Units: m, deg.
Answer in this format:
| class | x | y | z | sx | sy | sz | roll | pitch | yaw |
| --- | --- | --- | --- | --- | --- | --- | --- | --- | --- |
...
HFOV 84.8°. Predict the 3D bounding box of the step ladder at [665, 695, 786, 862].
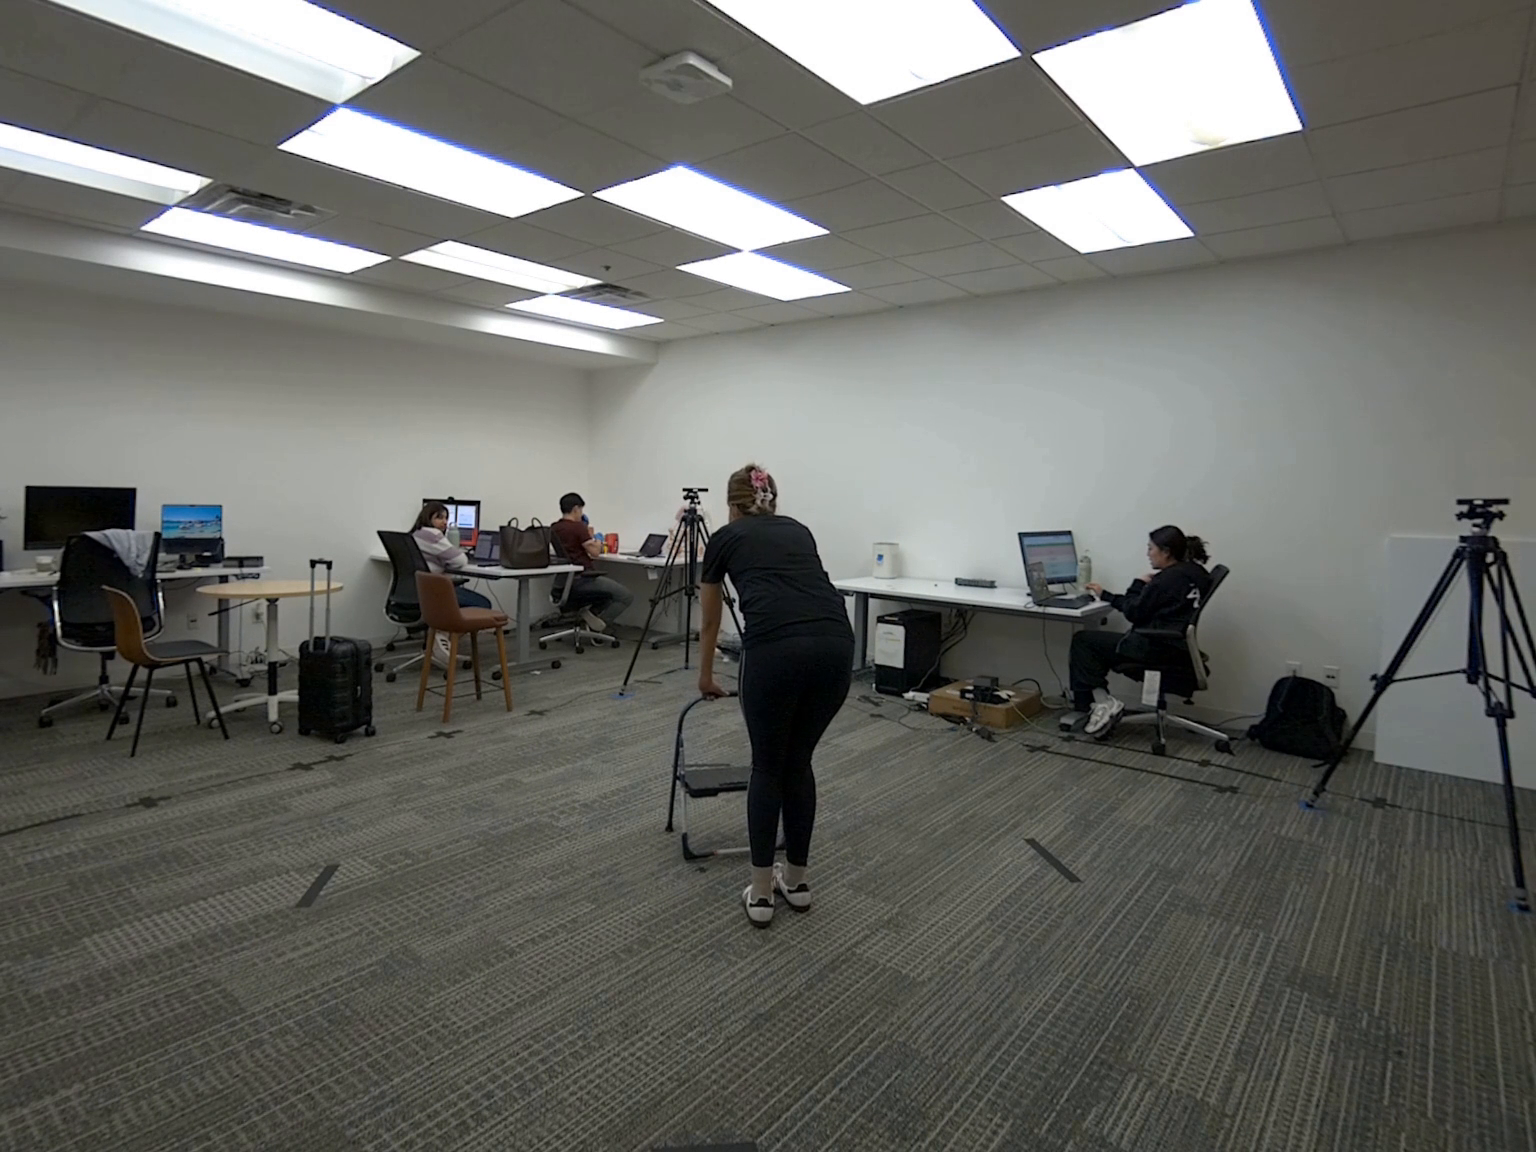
| class | x | y | z | sx | sy | sz | roll | pitch | yaw |
| --- | --- | --- | --- | --- | --- | --- | --- | --- | --- |
| step ladder | -0.179 | 0.744 | 3.371 | 0.423 | 0.606 | 0.355 | -1 | 1 | -17 |
